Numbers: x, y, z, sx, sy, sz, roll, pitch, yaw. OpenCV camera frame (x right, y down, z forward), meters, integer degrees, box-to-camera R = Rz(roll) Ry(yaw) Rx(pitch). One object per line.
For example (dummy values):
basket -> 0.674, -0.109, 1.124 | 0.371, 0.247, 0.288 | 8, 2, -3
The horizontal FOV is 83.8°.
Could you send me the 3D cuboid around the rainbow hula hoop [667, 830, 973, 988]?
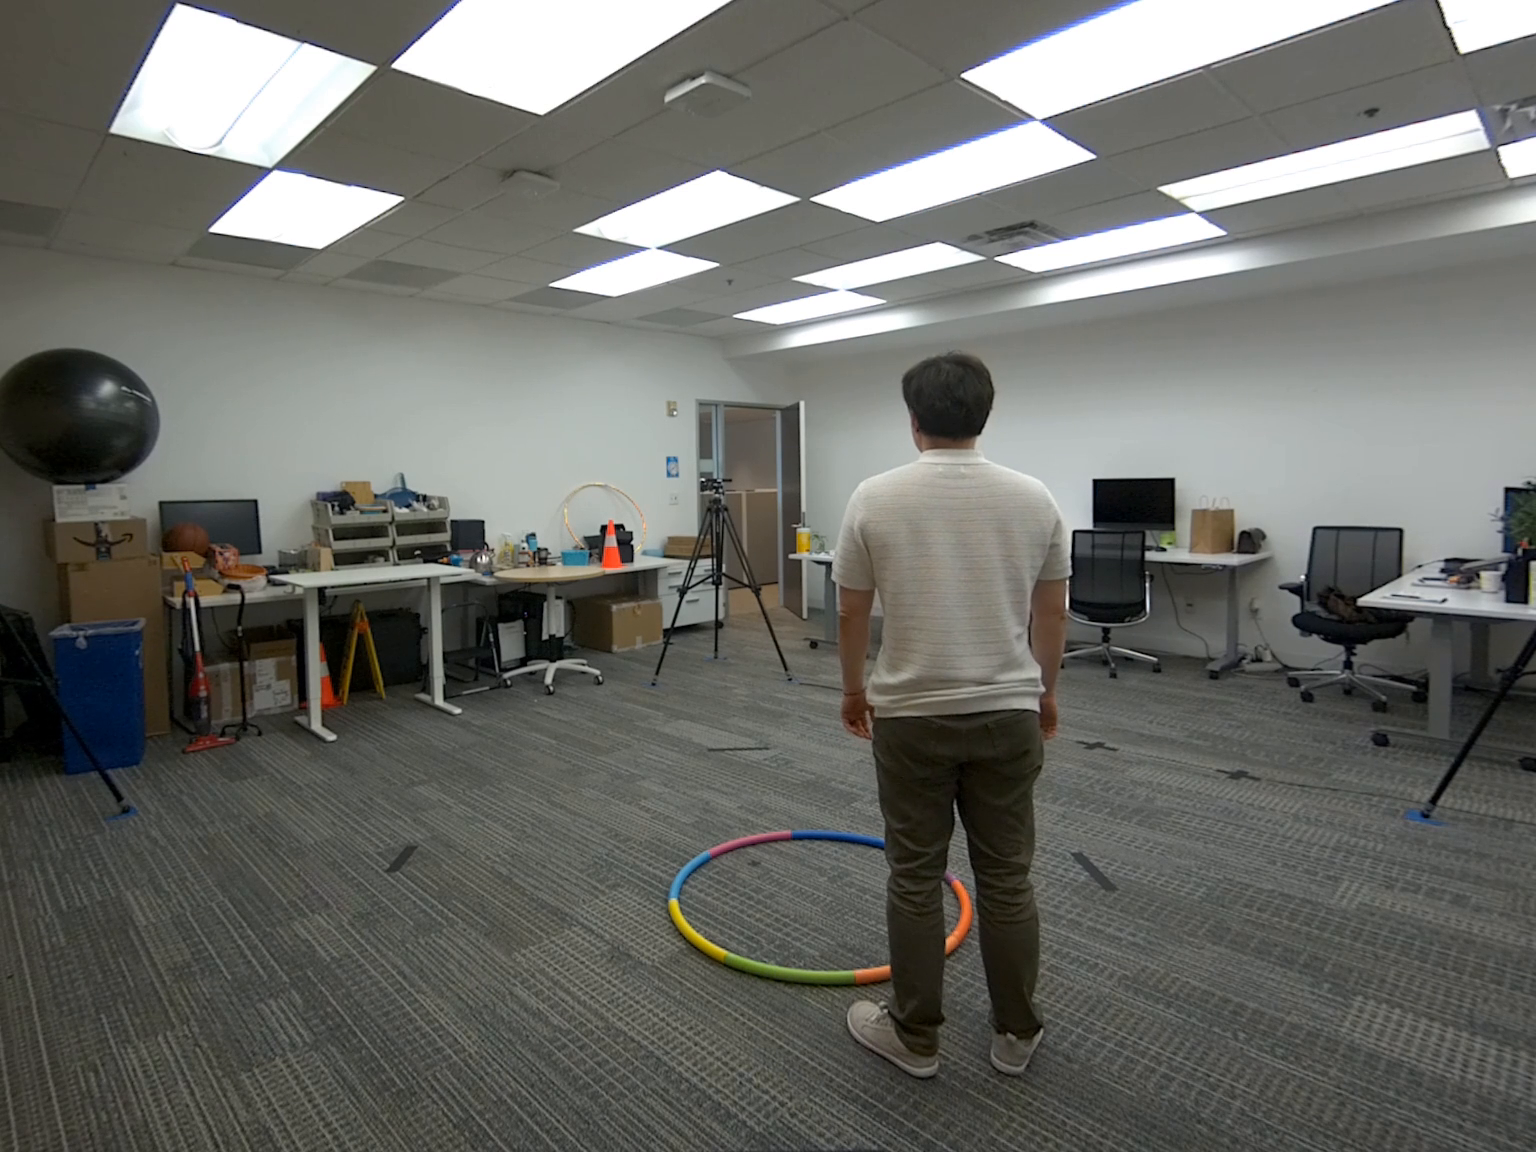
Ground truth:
rainbow hula hoop -> 0.164, 1.042, 2.835 | 0.978, 0.035, 0.984 | -1, 7, -2
